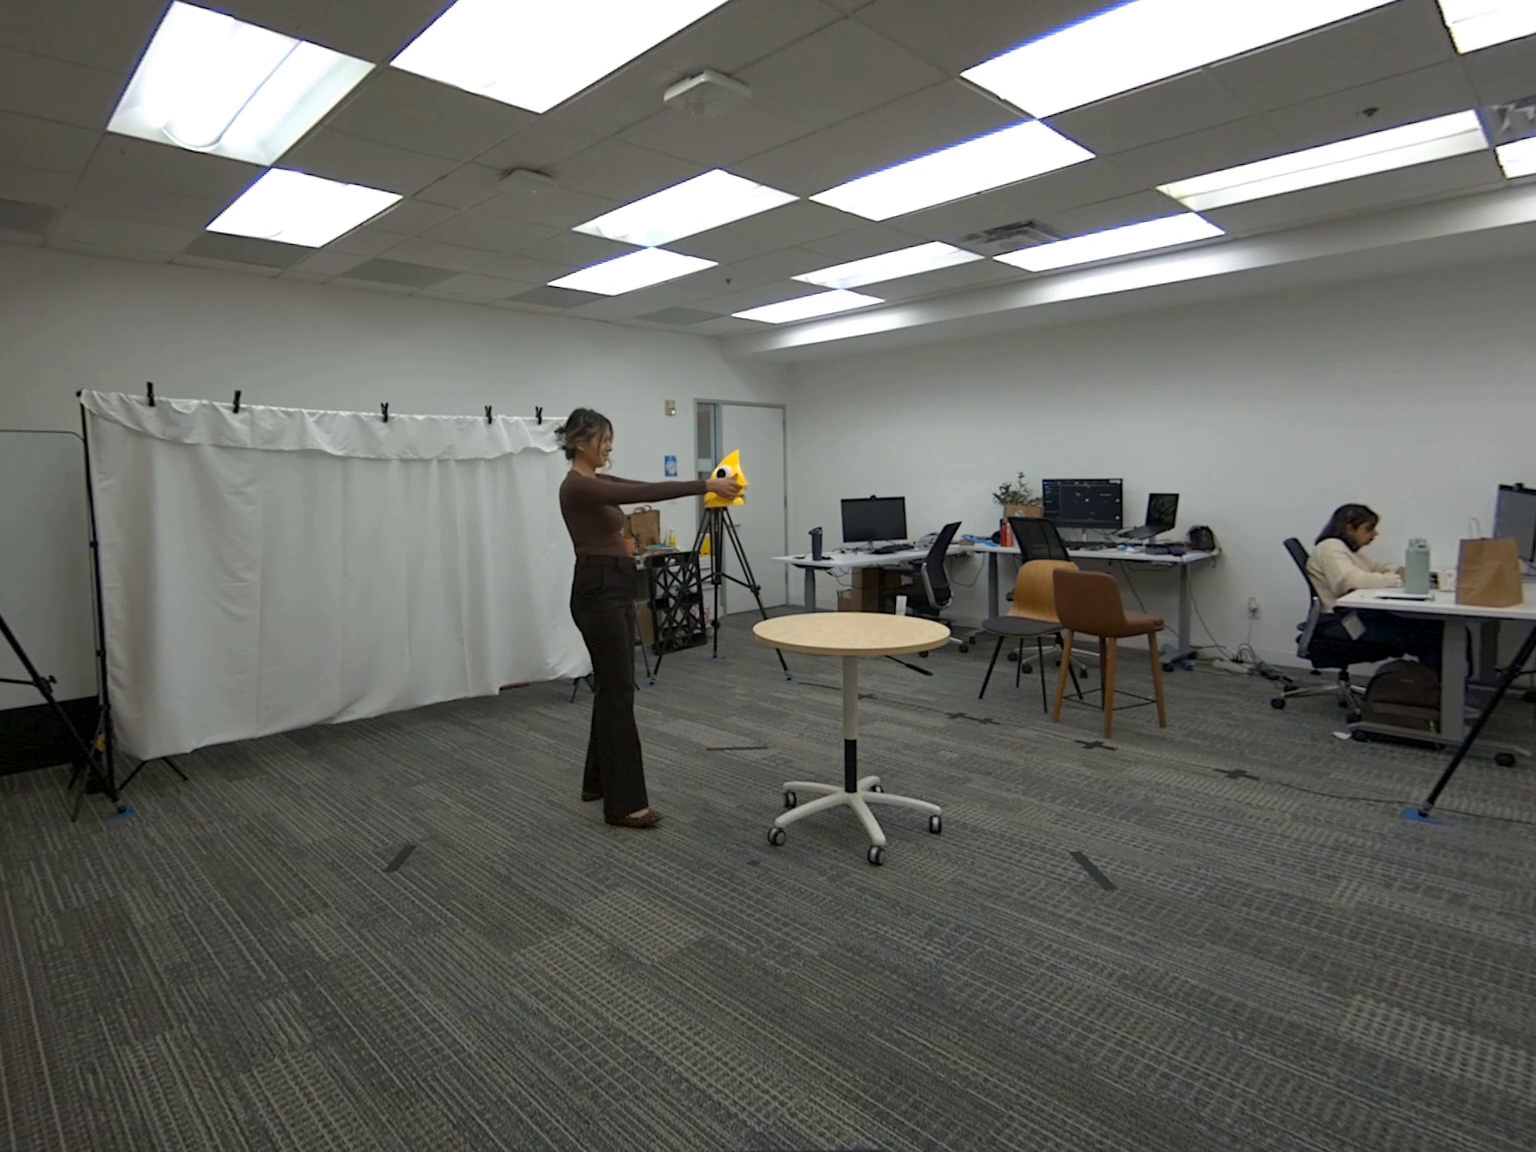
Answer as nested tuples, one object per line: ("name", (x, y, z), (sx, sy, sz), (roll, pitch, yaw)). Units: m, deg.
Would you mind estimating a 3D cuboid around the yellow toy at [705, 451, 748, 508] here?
("yellow toy", (-0.175, -0.408, 3.565), (0.194, 0.230, 0.204), (-3, 3, 3))
